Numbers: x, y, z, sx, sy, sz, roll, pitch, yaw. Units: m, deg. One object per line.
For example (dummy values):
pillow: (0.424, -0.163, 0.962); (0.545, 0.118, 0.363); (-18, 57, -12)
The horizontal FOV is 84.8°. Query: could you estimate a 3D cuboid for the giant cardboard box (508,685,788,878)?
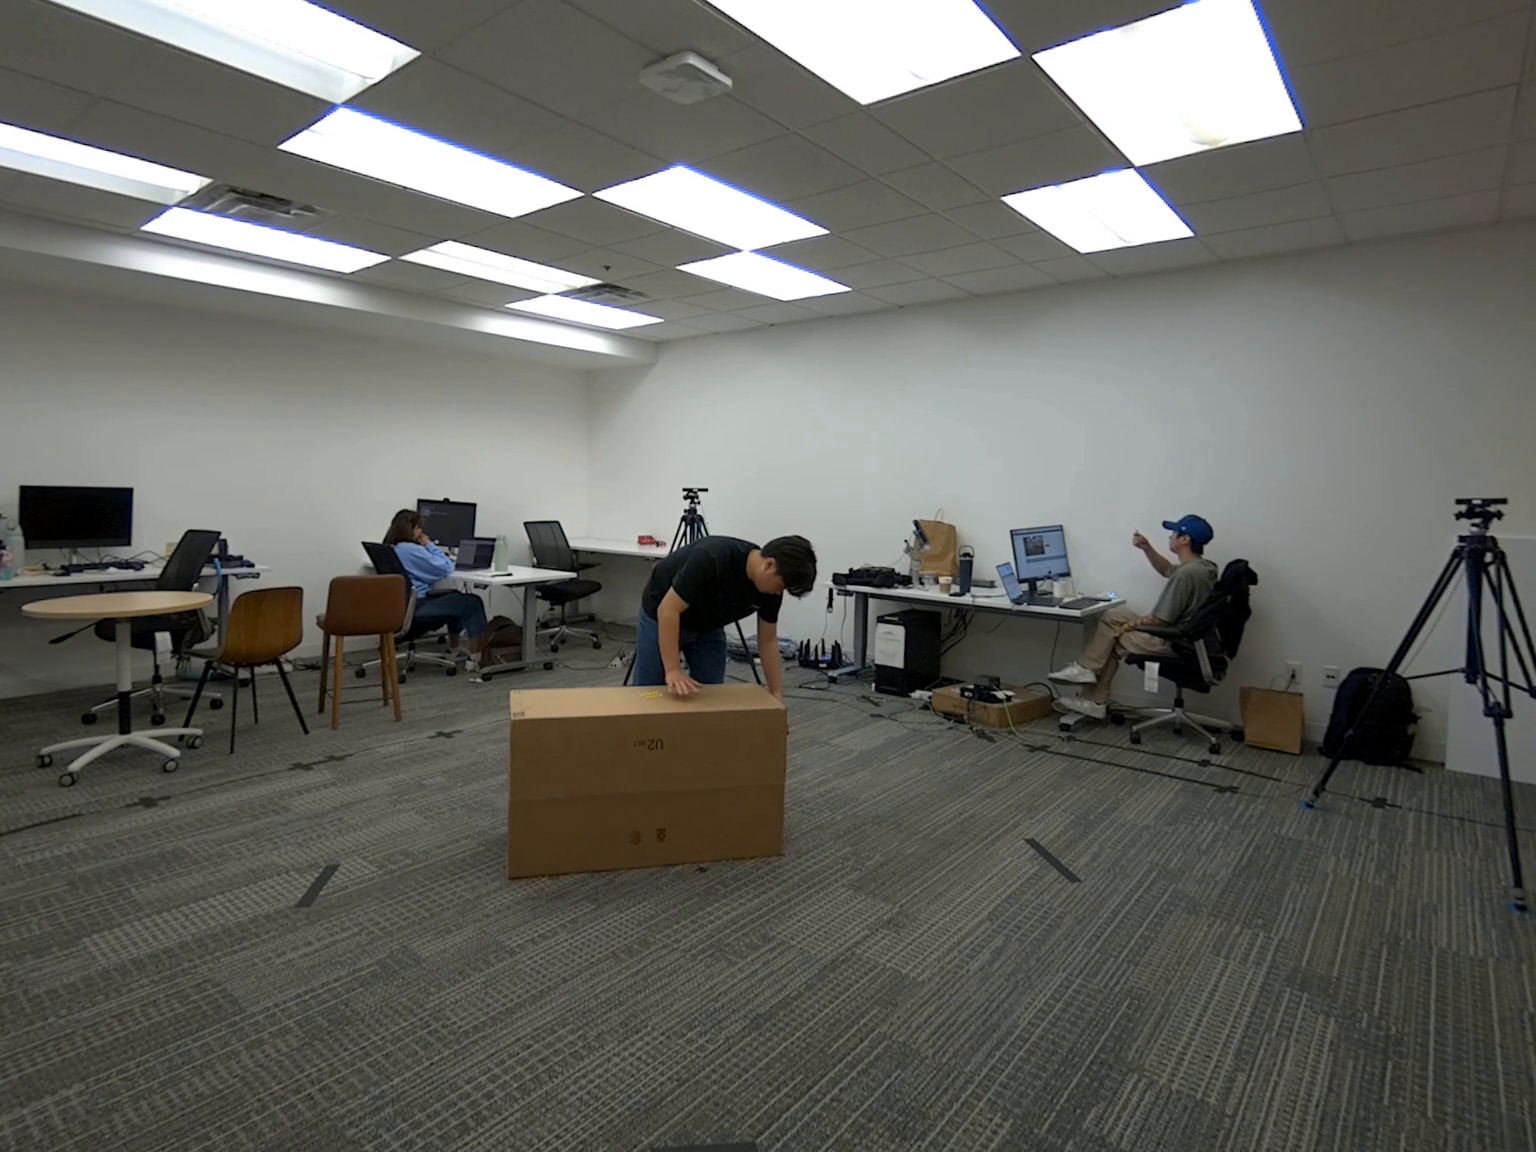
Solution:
giant cardboard box: (-0.493, 0.758, 3.305); (1.011, 0.583, 0.455); (0, 3, -15)
